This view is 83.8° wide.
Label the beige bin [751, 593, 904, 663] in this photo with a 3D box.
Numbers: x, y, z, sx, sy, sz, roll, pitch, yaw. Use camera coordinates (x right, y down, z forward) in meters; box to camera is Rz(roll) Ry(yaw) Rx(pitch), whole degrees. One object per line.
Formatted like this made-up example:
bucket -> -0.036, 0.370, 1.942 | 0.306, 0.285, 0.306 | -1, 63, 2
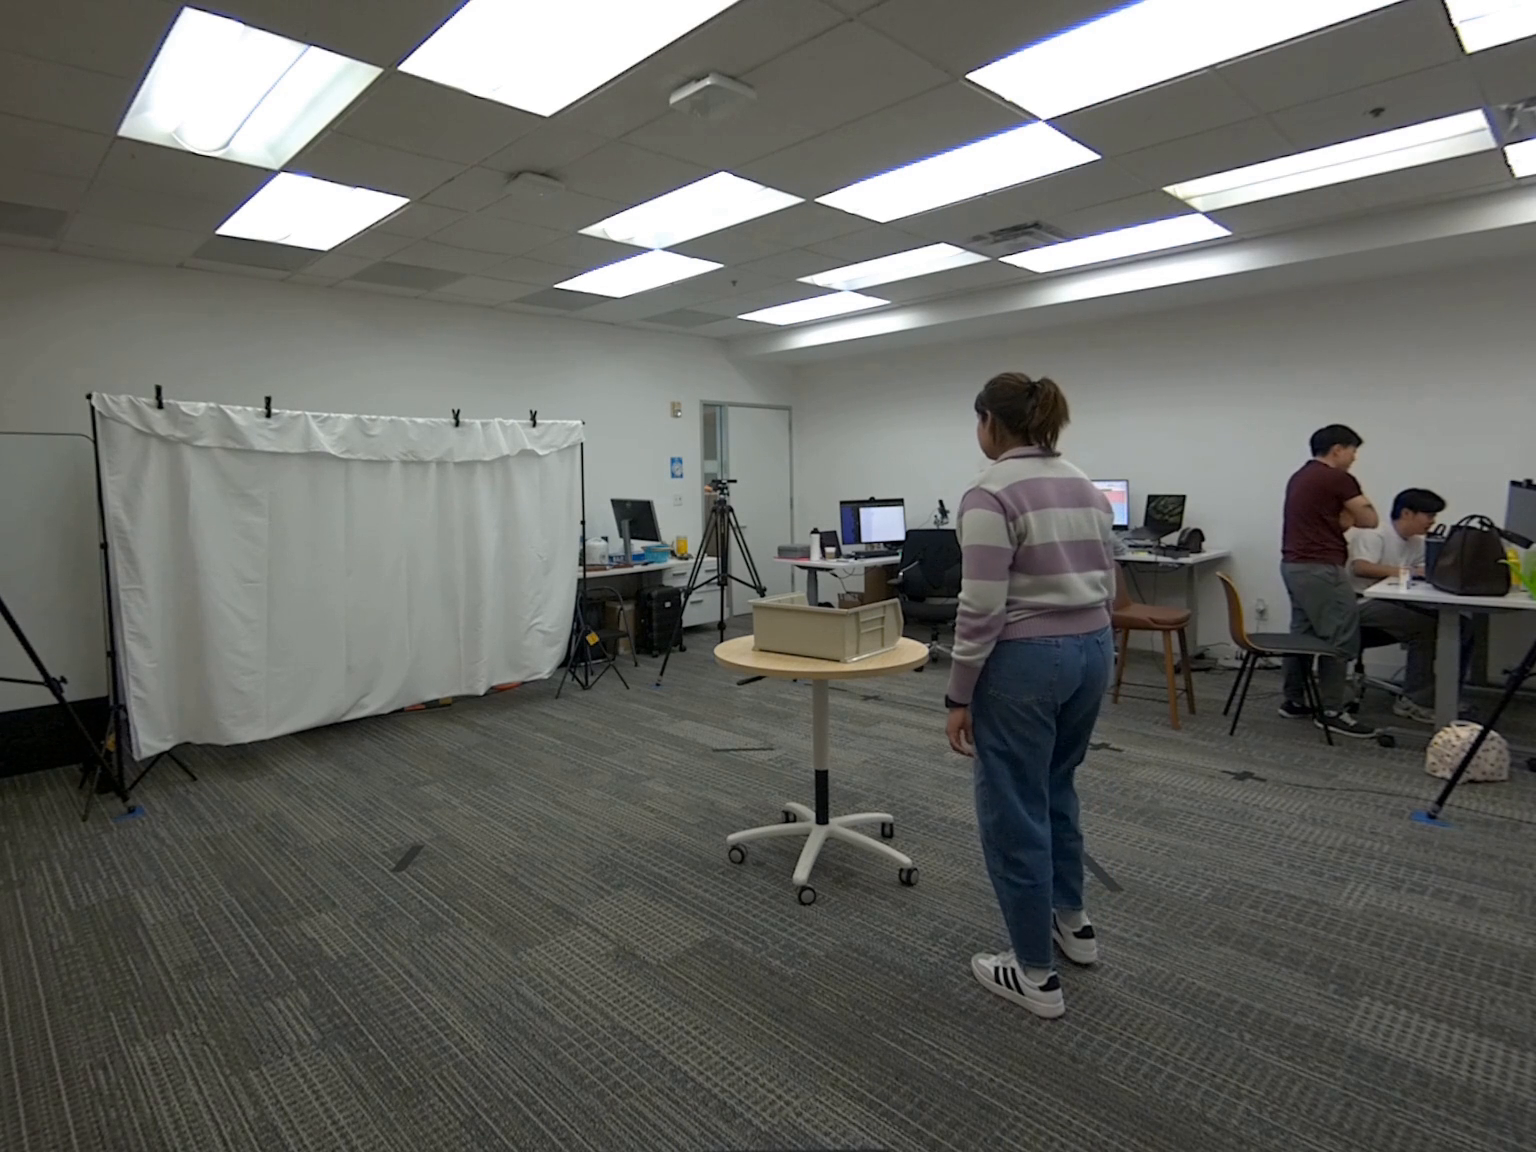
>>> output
beige bin -> 0.207, 0.175, 3.067 | 0.435, 0.188, 0.368 | 4, 9, 39
